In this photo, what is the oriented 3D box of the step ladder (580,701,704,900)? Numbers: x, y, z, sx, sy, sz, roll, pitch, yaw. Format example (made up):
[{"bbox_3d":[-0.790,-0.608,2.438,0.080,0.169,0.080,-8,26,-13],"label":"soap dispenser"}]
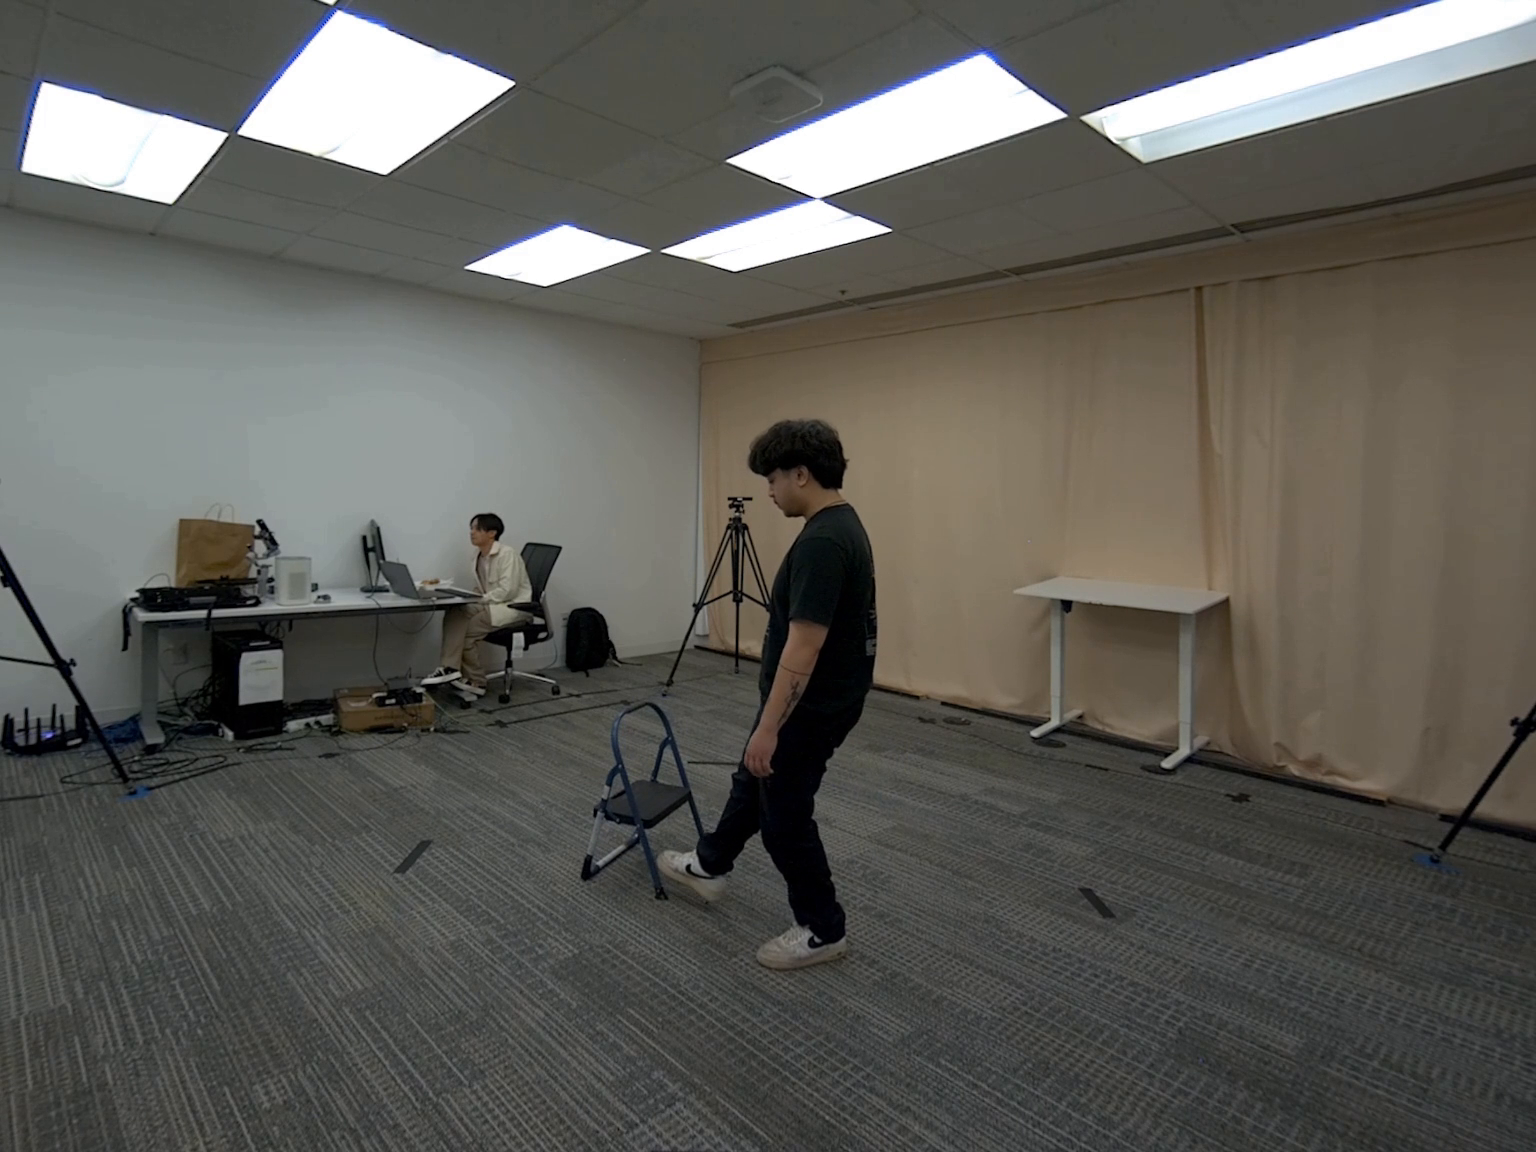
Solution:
[{"bbox_3d":[-0.445,0.793,3.151,0.355,0.604,0.424,3,4,21],"label":"step ladder"}]
